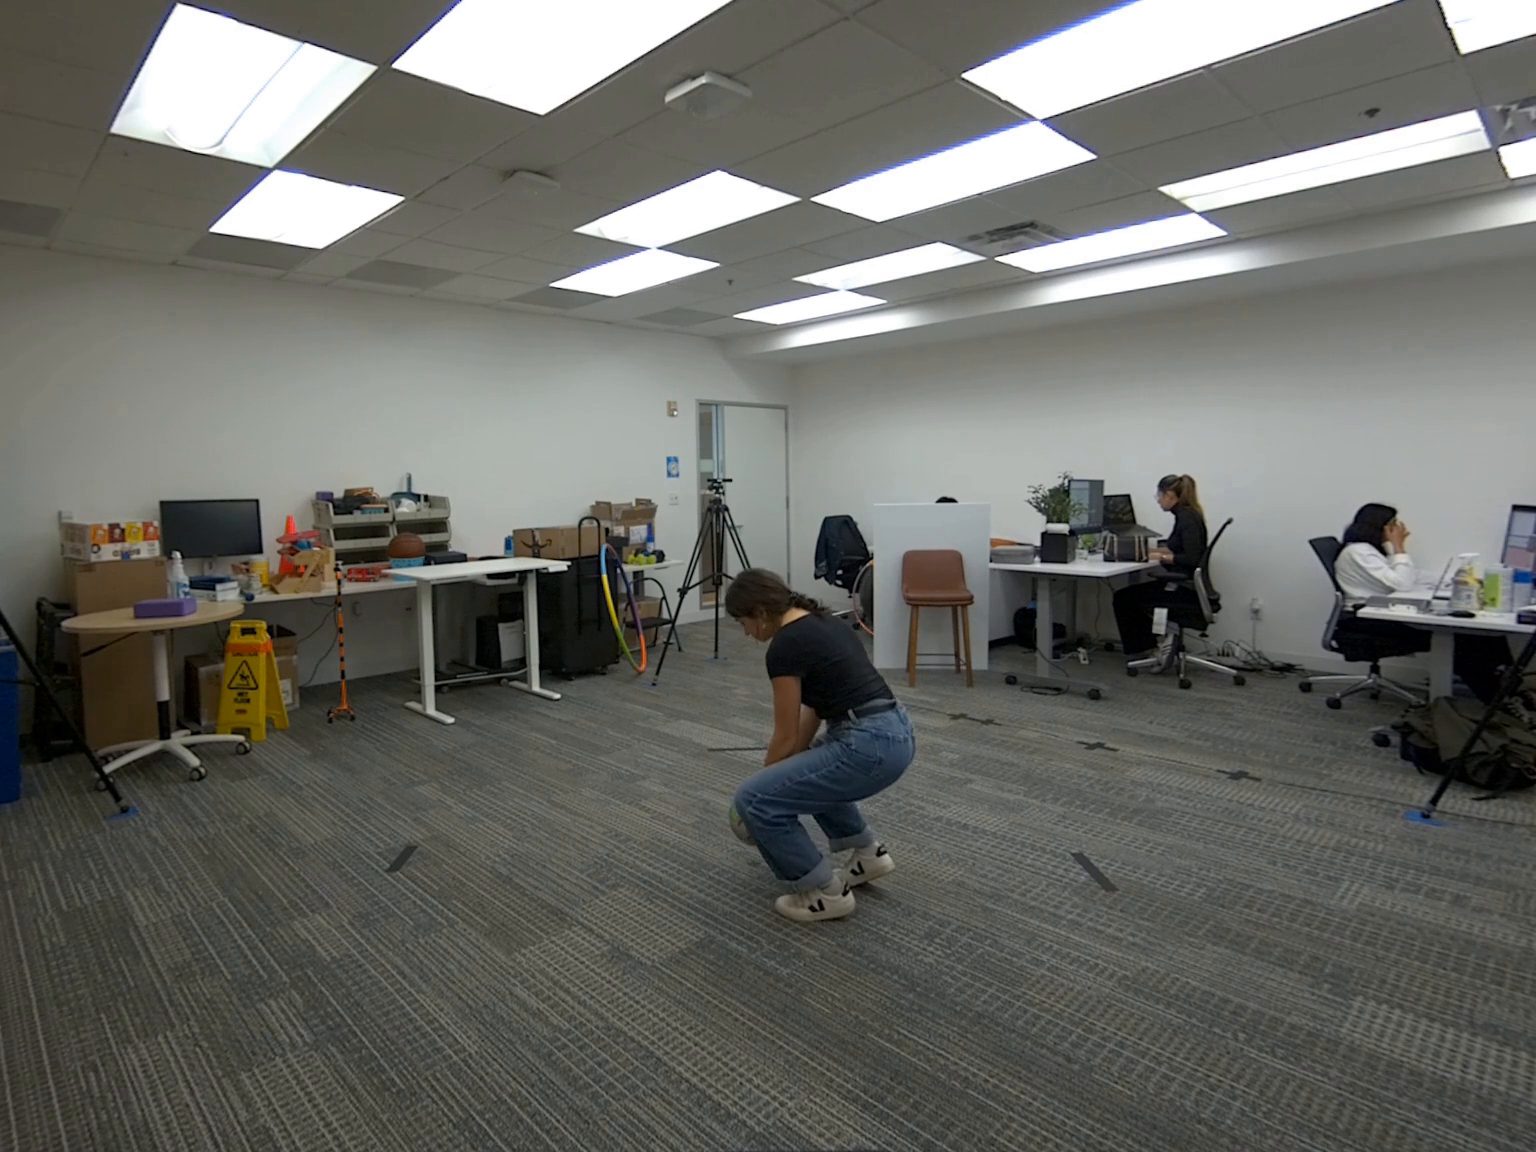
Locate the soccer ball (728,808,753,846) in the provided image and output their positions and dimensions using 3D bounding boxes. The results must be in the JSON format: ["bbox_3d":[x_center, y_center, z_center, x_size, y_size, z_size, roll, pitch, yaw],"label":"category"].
[{"bbox_3d":[-0.035,0.816,2.931,0.187,0.187,0.188,-1,5,-2],"label":"soccer ball"}]
